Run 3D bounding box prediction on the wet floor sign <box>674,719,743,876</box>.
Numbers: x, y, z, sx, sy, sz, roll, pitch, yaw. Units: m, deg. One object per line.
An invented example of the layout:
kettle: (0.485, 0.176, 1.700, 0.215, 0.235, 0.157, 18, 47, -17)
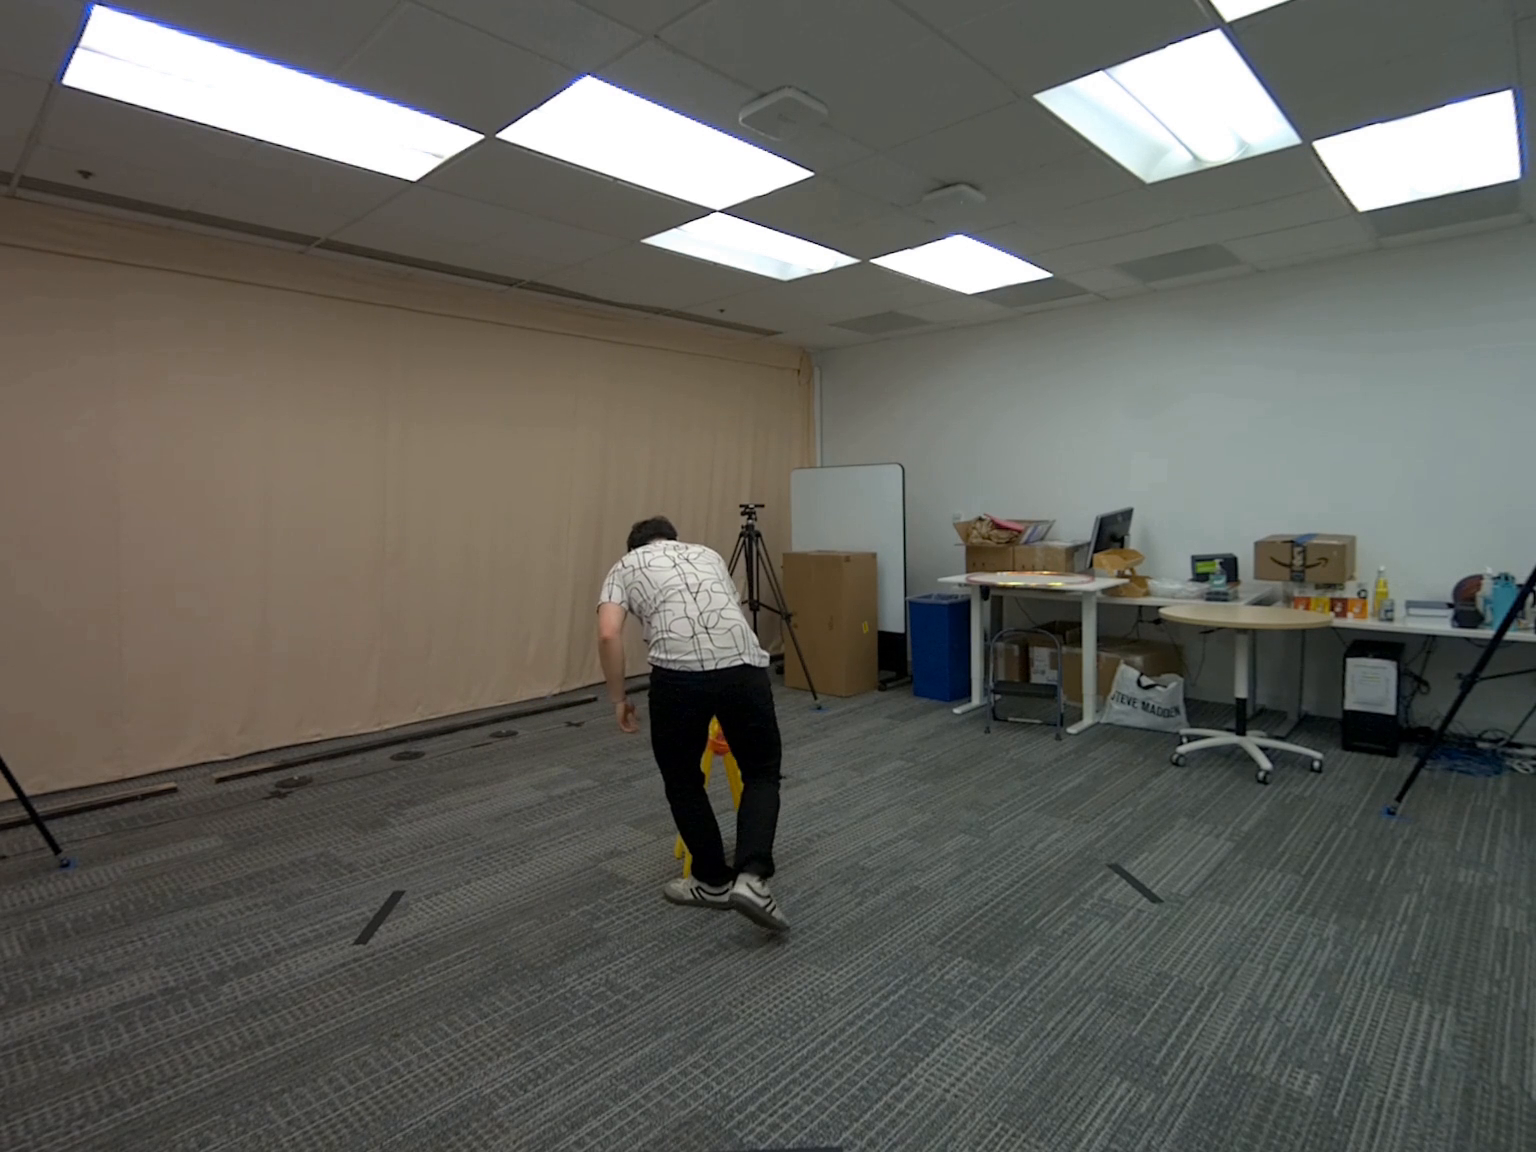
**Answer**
wet floor sign: (-0.201, 0.792, 3.269, 0.285, 0.645, 0.287, -2, 3, -15)
